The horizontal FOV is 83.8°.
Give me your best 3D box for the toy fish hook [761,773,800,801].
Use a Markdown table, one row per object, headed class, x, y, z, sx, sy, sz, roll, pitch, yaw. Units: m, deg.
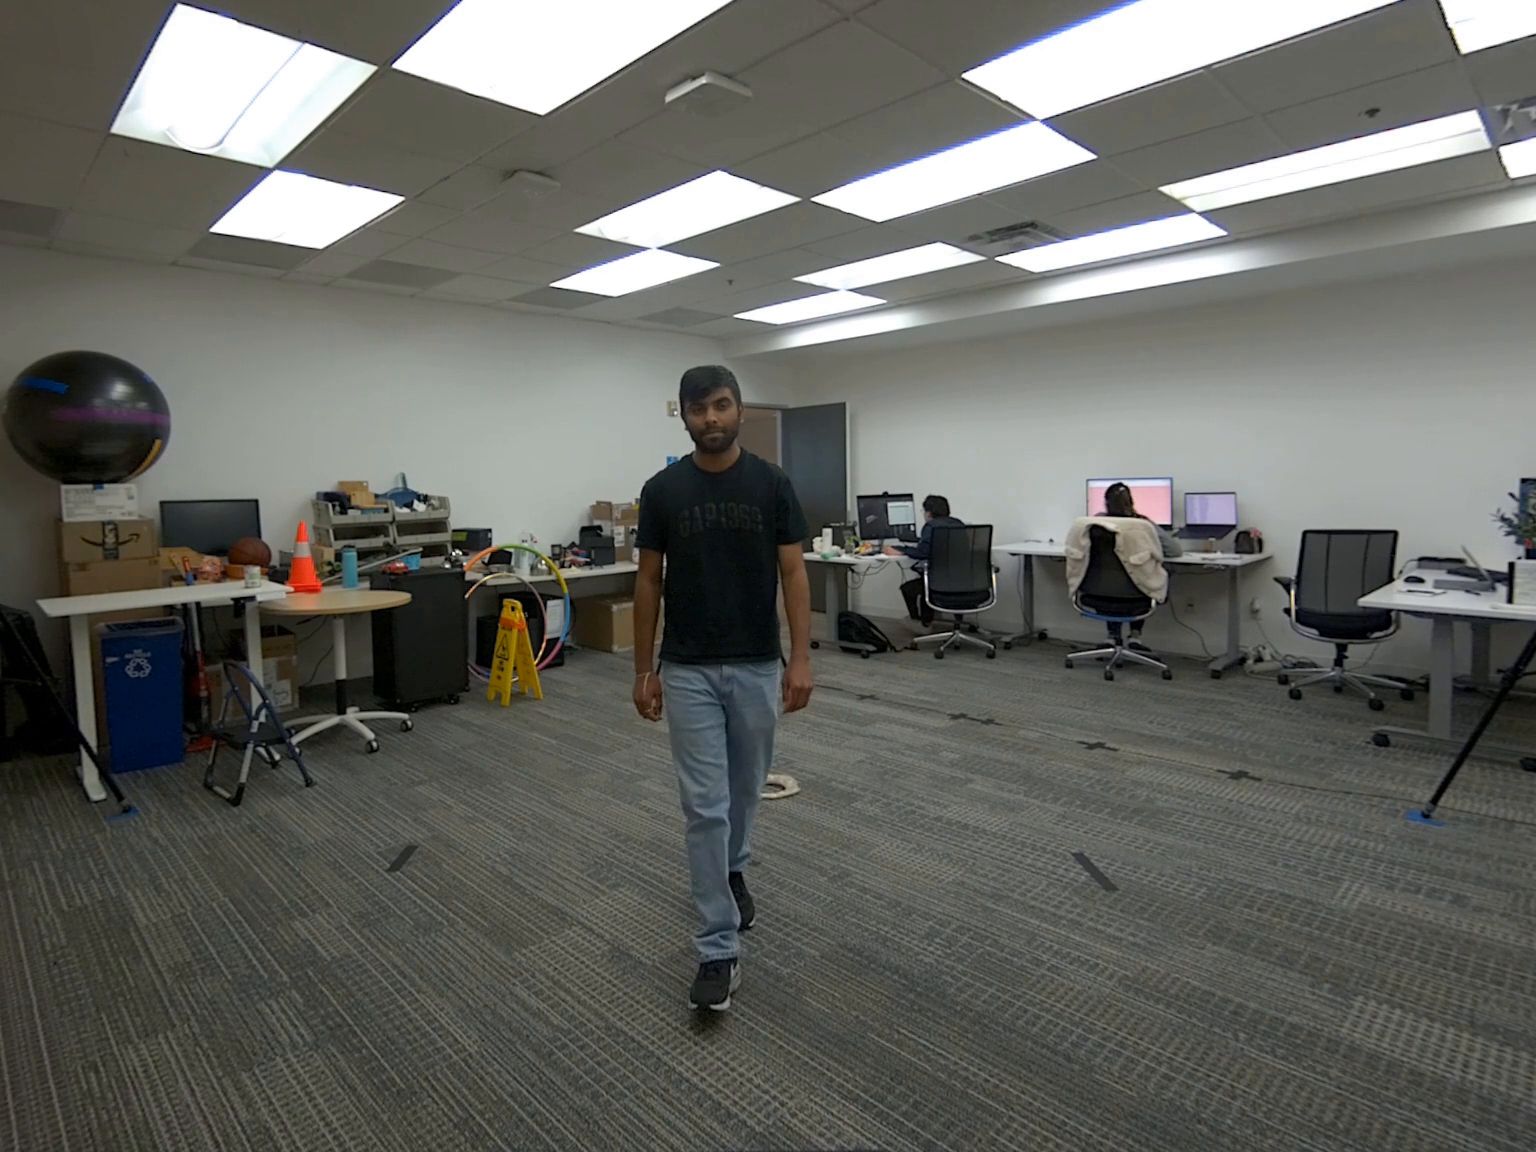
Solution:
| class | x | y | z | sx | sy | sz | roll | pitch | yaw |
| --- | --- | --- | --- | --- | --- | --- | --- | --- | --- |
| toy fish hook | -0.113 | 0.942 | 3.812 | 0.504 | 0.048 | 0.226 | -2 | 5 | -6 |
